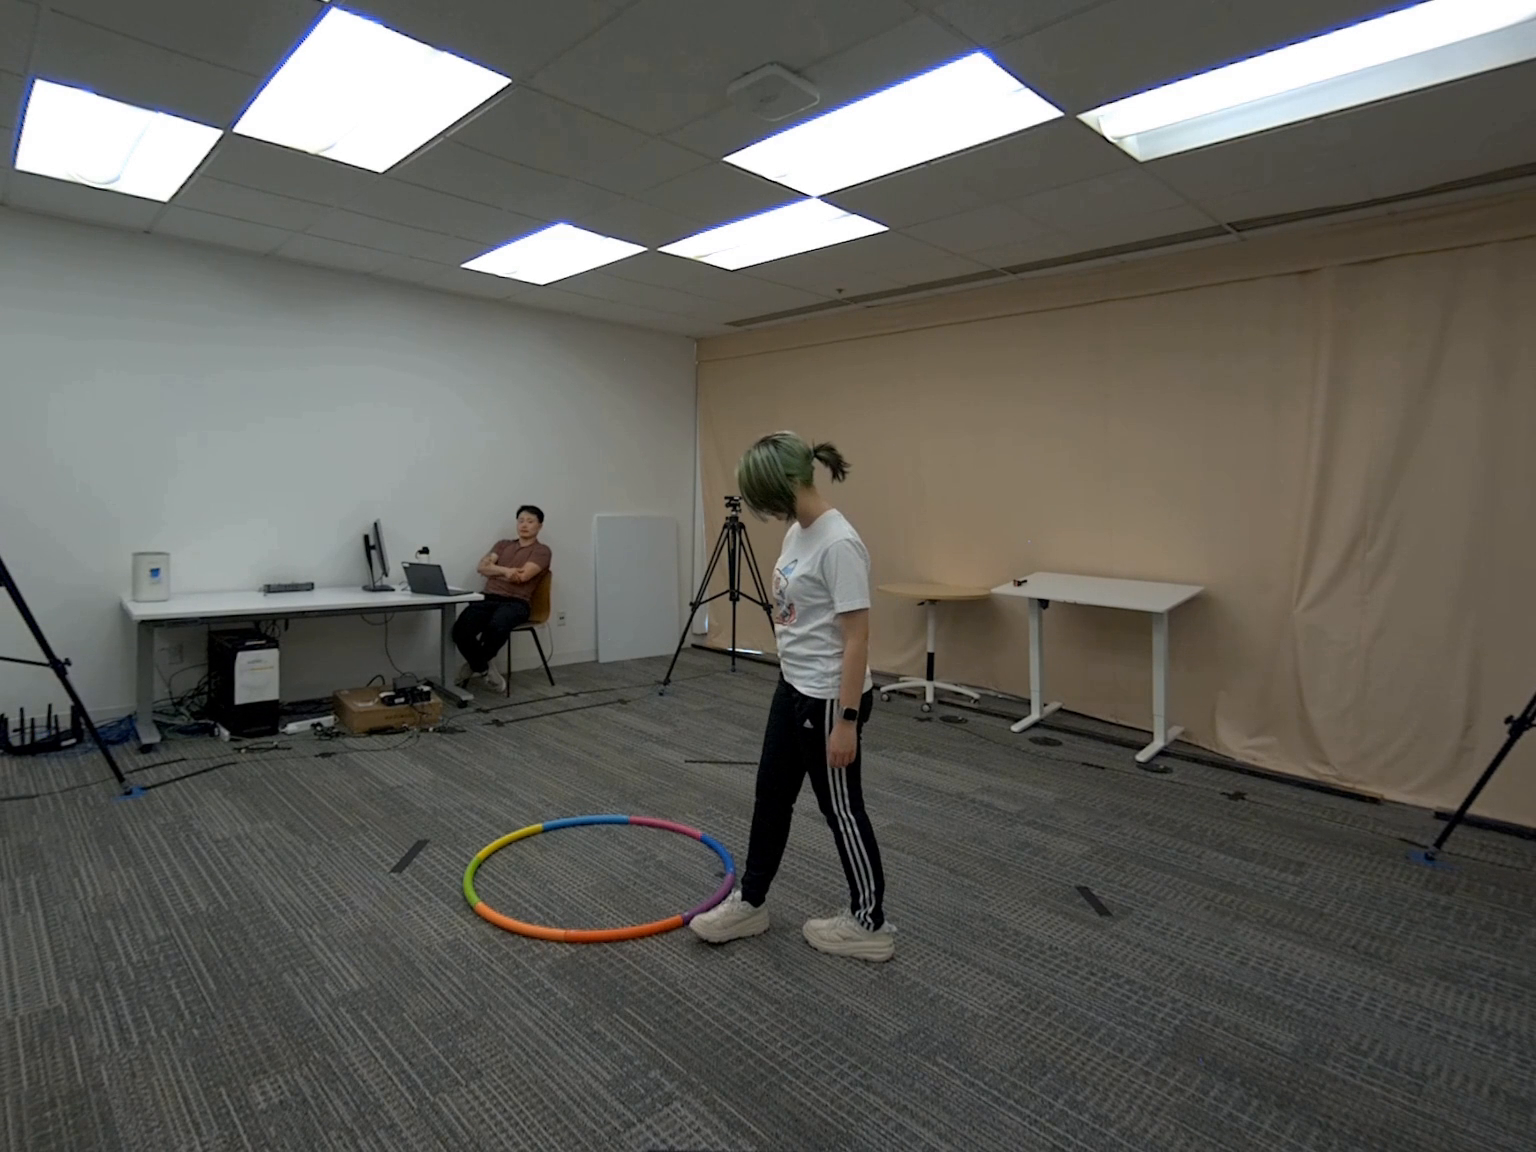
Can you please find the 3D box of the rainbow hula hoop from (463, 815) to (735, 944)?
[{"bbox_3d":[-0.608,1.065,3.095,0.978,0.035,0.982,1,5,-1],"label":"rainbow hula hoop"}]
